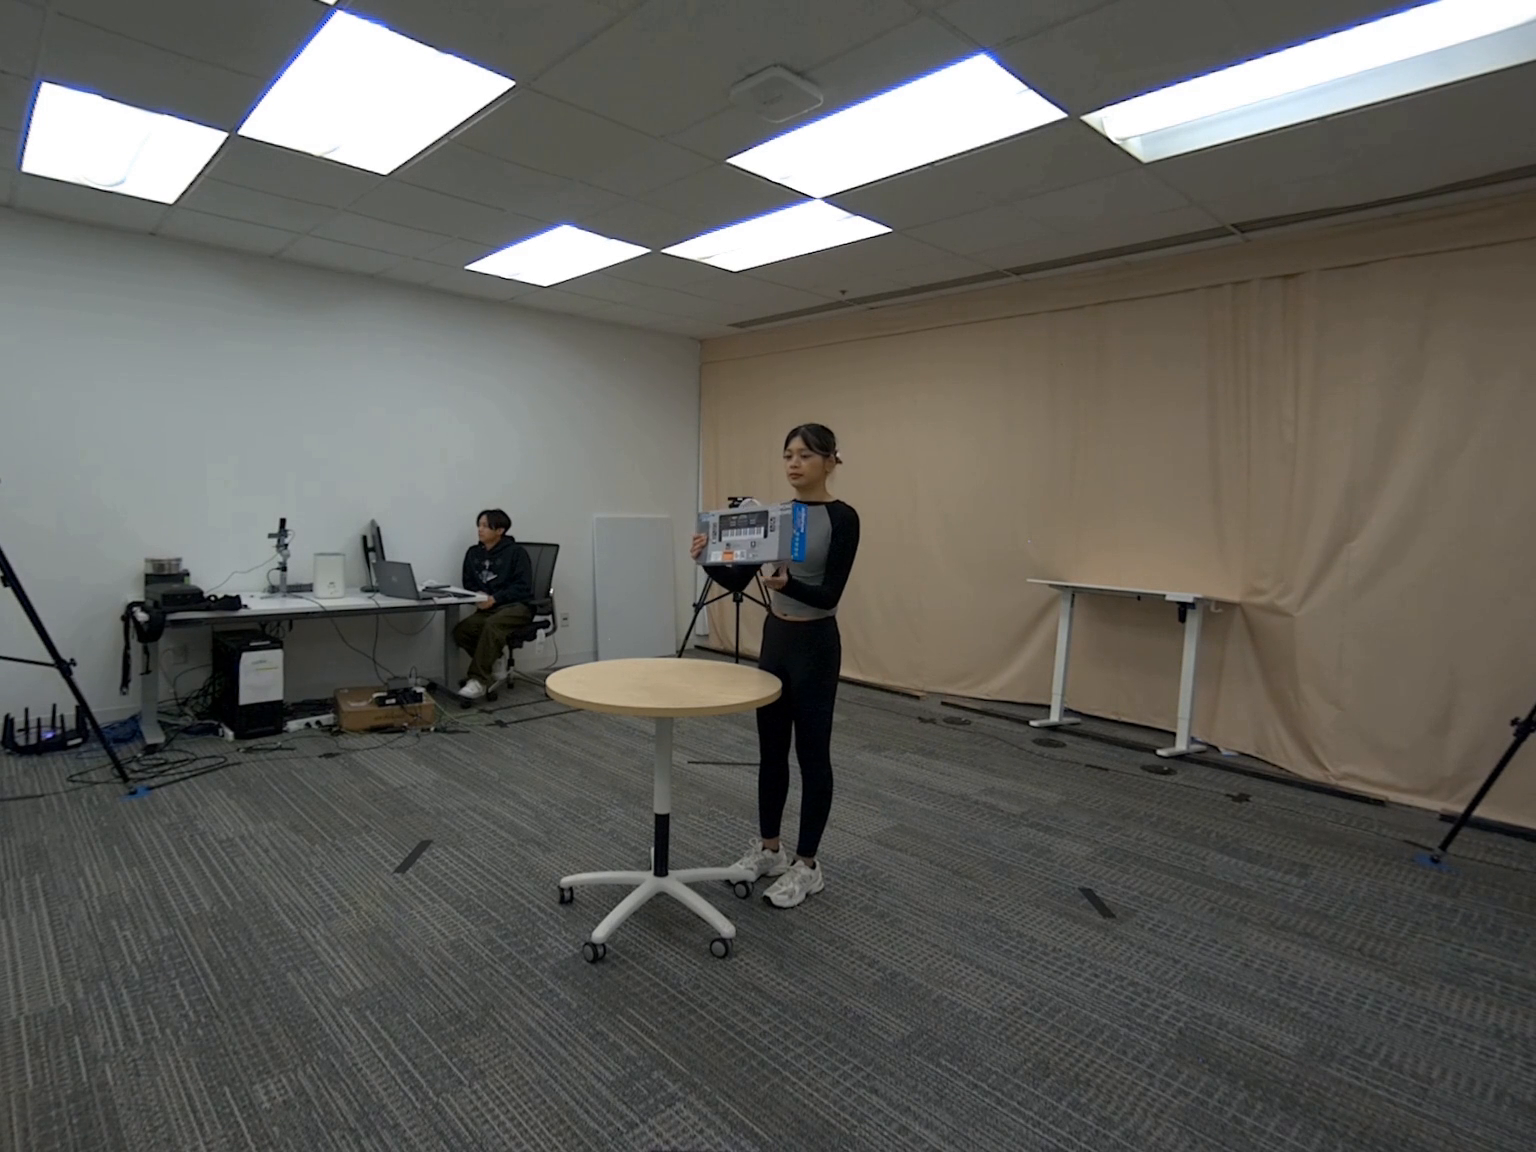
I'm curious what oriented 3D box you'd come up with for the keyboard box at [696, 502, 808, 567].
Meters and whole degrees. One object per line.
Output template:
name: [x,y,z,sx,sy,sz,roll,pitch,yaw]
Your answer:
keyboard box: [-0.059,-0.120,2.631,0.447,0.177,0.057,-2,-8,44]
